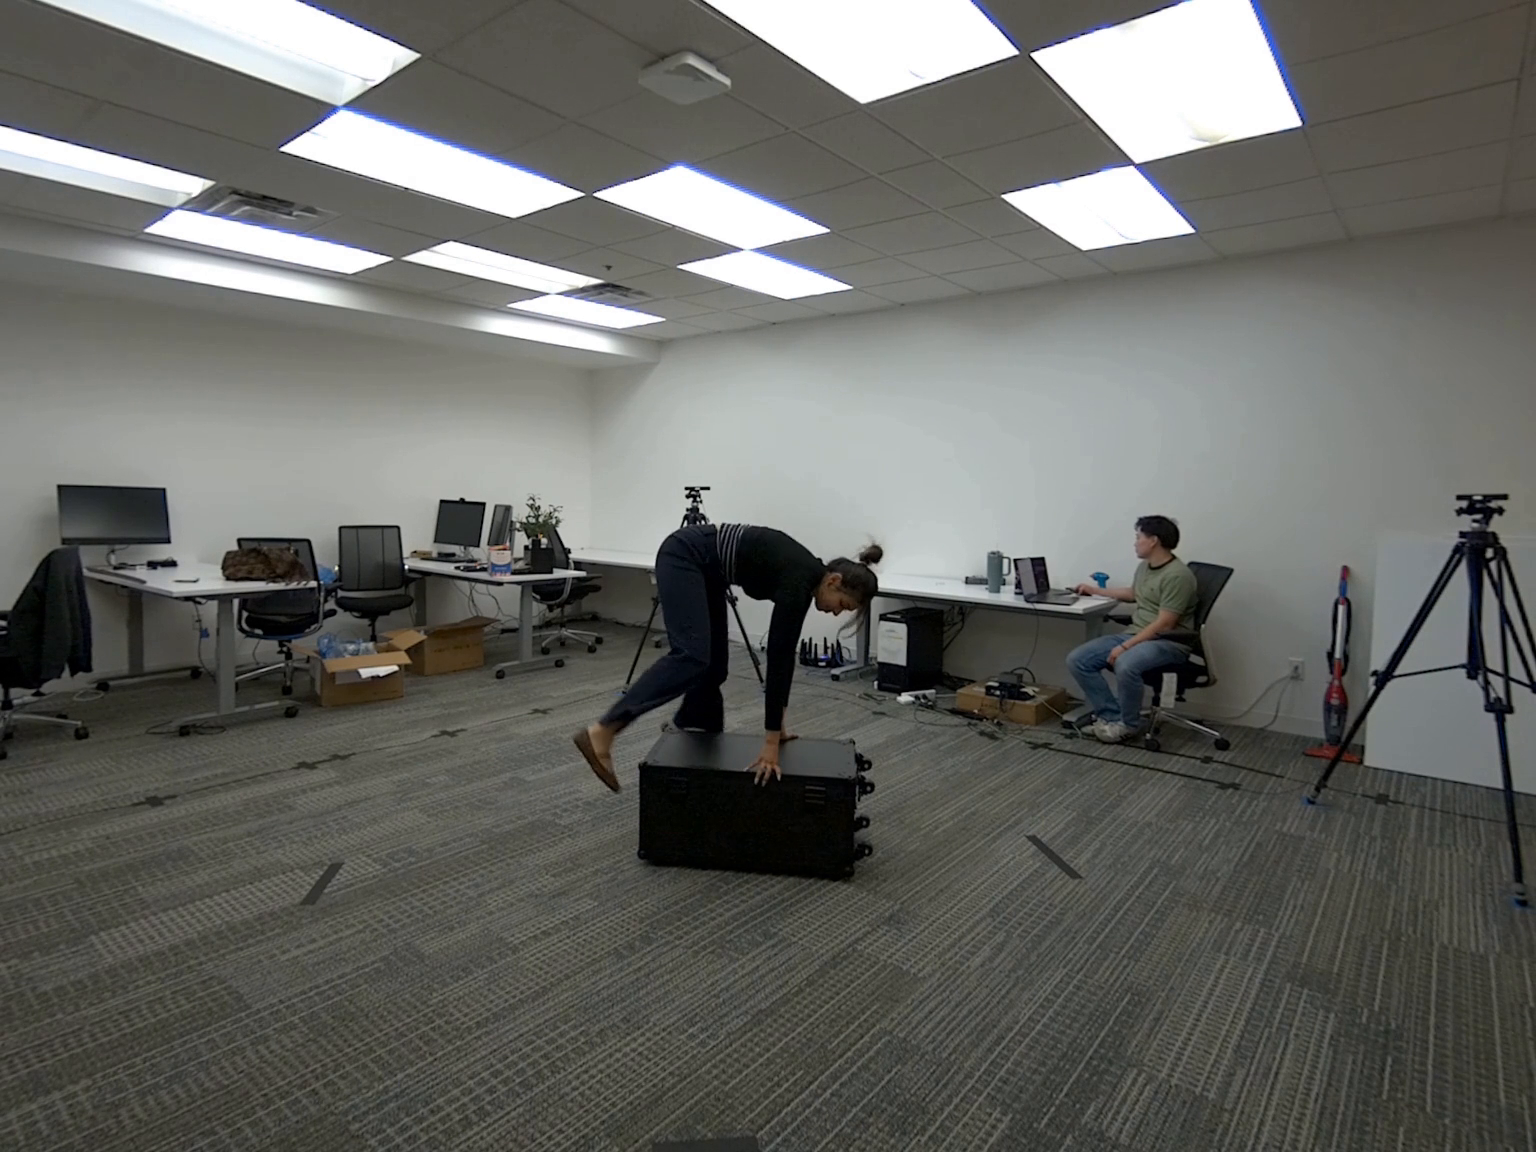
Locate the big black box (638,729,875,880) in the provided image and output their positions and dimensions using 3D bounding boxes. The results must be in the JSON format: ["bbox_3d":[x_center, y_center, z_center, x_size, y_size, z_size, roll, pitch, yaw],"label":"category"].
[{"bbox_3d":[-0.038,0.858,3.276,0.869,0.395,0.519,1,5,7],"label":"big black box"}]
